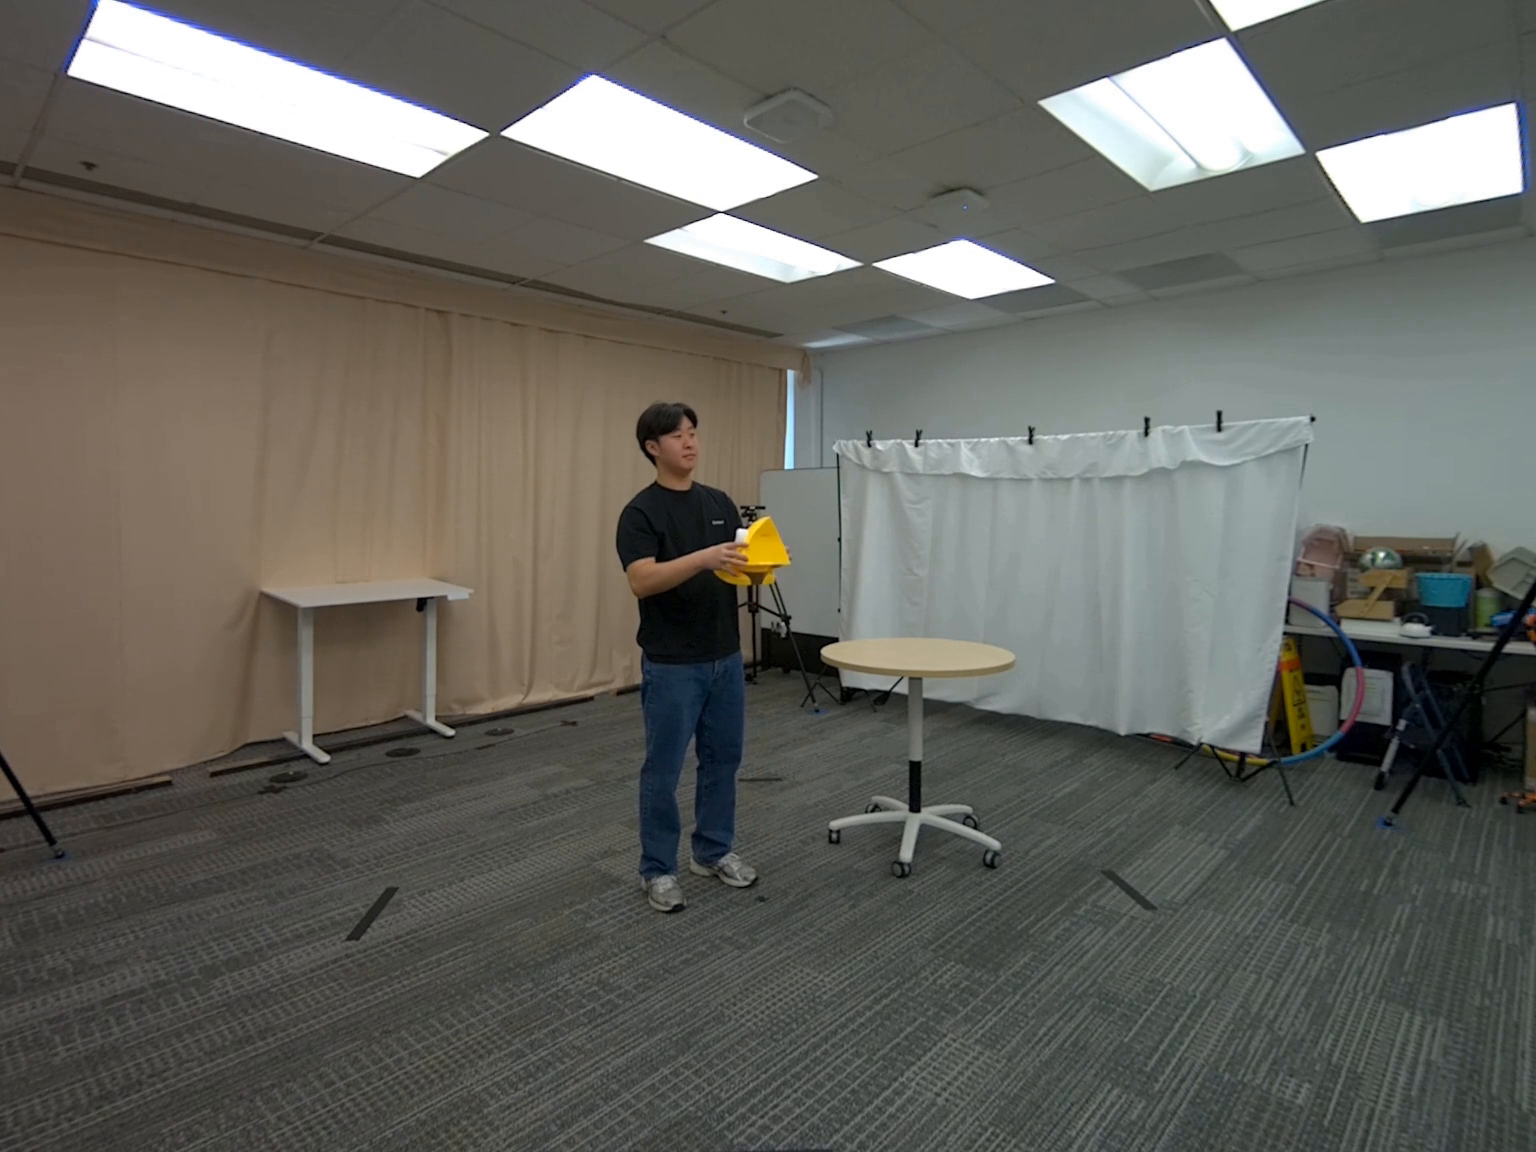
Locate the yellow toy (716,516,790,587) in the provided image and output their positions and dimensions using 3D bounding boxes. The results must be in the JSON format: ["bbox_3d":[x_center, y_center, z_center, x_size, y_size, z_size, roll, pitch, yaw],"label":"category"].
[{"bbox_3d":[-0.057,-0.103,2.748,0.199,0.229,0.200,-1,21,-32],"label":"yellow toy"}]
